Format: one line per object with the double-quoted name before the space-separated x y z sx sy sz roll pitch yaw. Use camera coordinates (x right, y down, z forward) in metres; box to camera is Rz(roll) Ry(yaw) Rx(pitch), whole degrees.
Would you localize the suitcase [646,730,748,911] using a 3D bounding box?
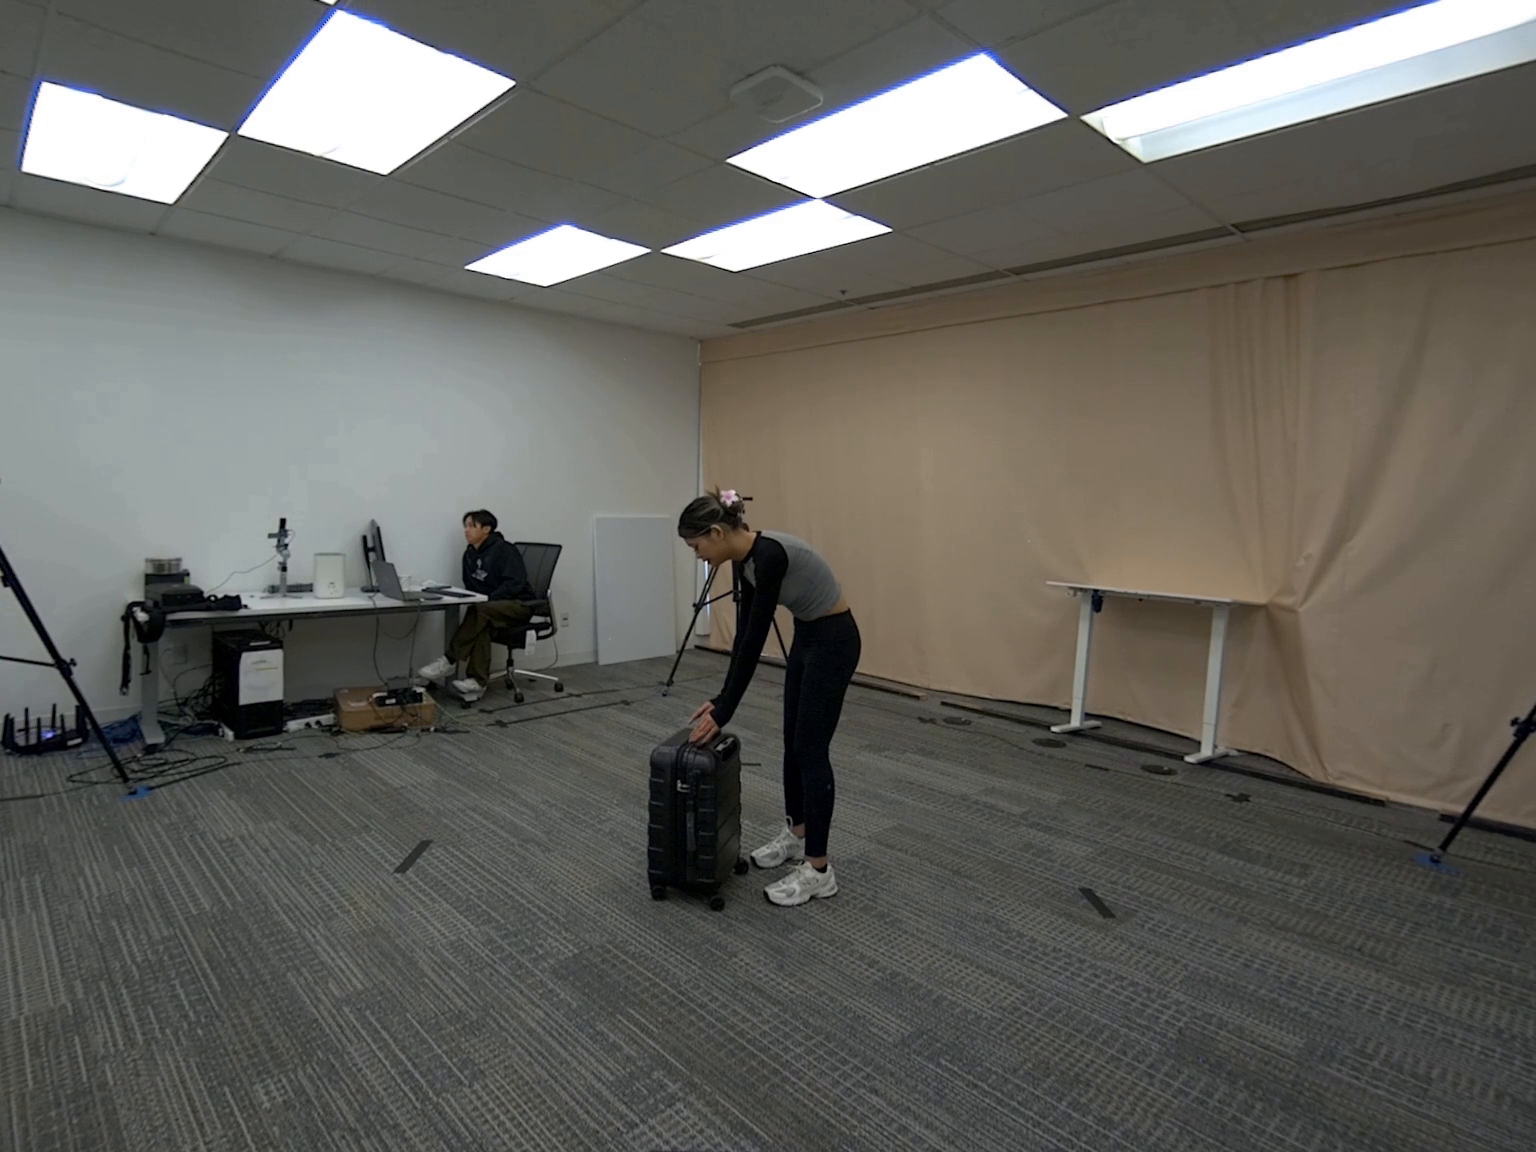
"suitcase" -0.262 0.839 3.005 0.252 0.548 0.371 1 4 18
